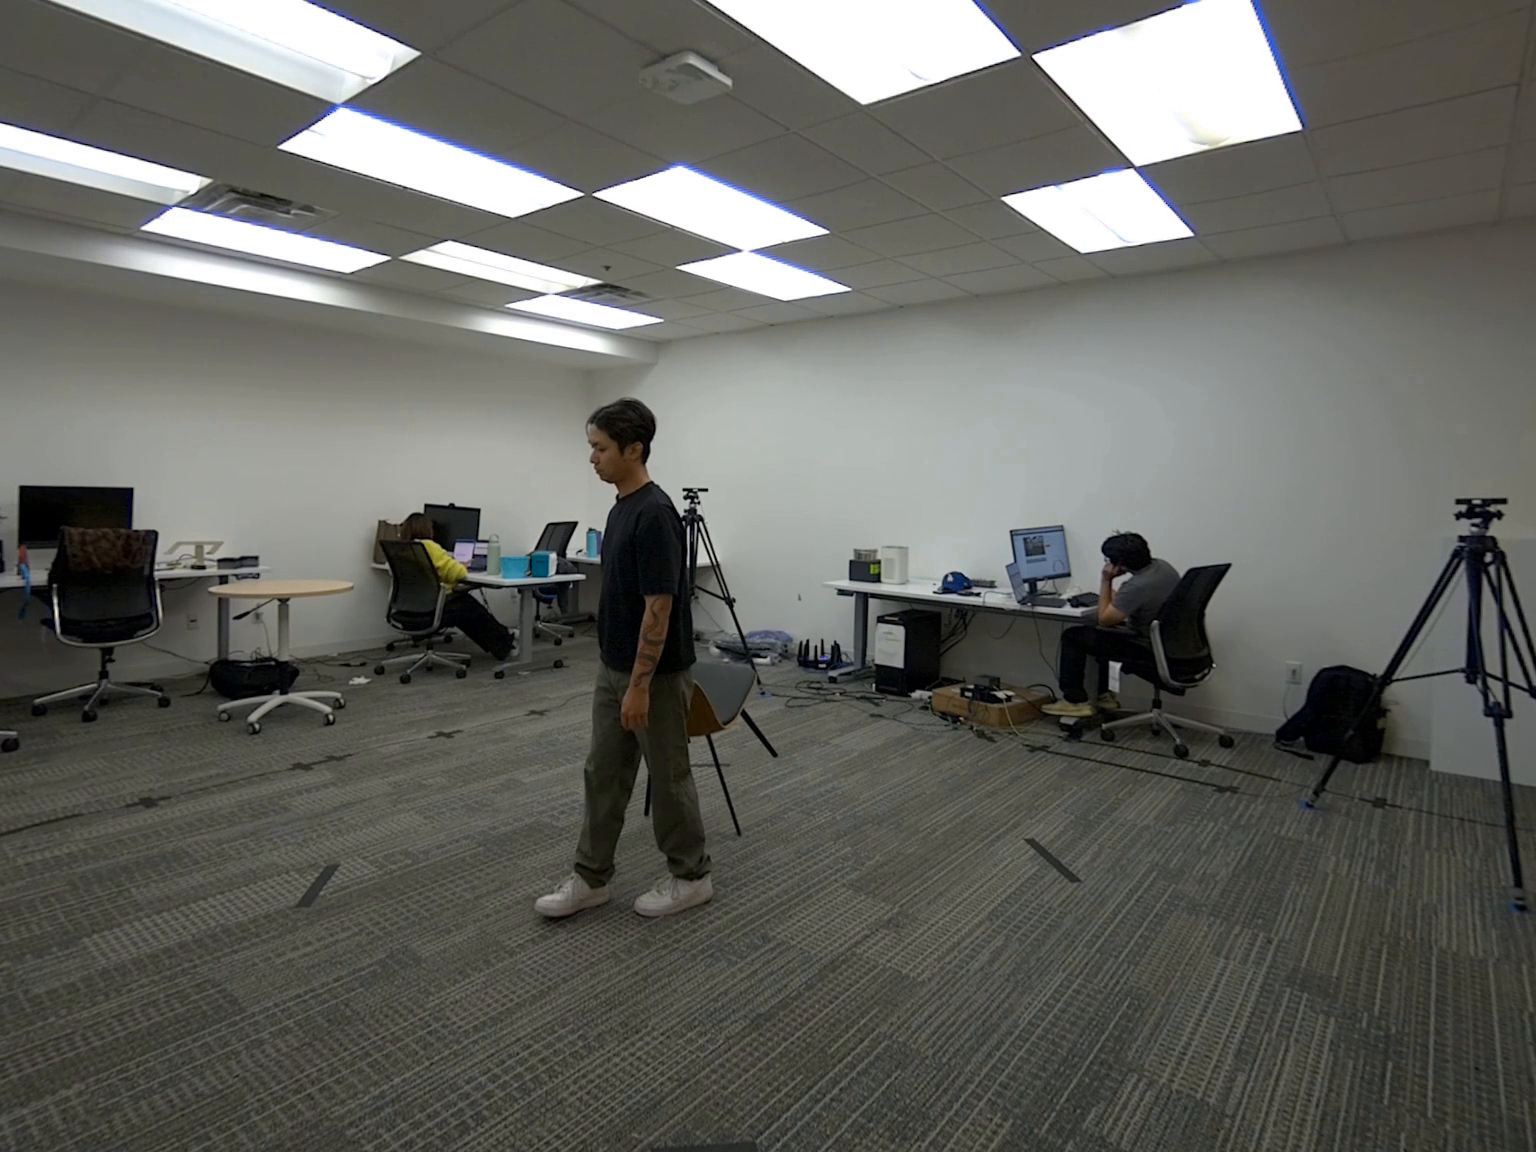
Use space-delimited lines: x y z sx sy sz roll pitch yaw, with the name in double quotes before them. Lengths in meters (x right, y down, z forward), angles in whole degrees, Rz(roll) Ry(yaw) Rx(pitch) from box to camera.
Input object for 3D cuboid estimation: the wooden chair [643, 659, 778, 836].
"wooden chair" -0.323 0.543 3.491 0.491 0.849 0.526 3 37 25
